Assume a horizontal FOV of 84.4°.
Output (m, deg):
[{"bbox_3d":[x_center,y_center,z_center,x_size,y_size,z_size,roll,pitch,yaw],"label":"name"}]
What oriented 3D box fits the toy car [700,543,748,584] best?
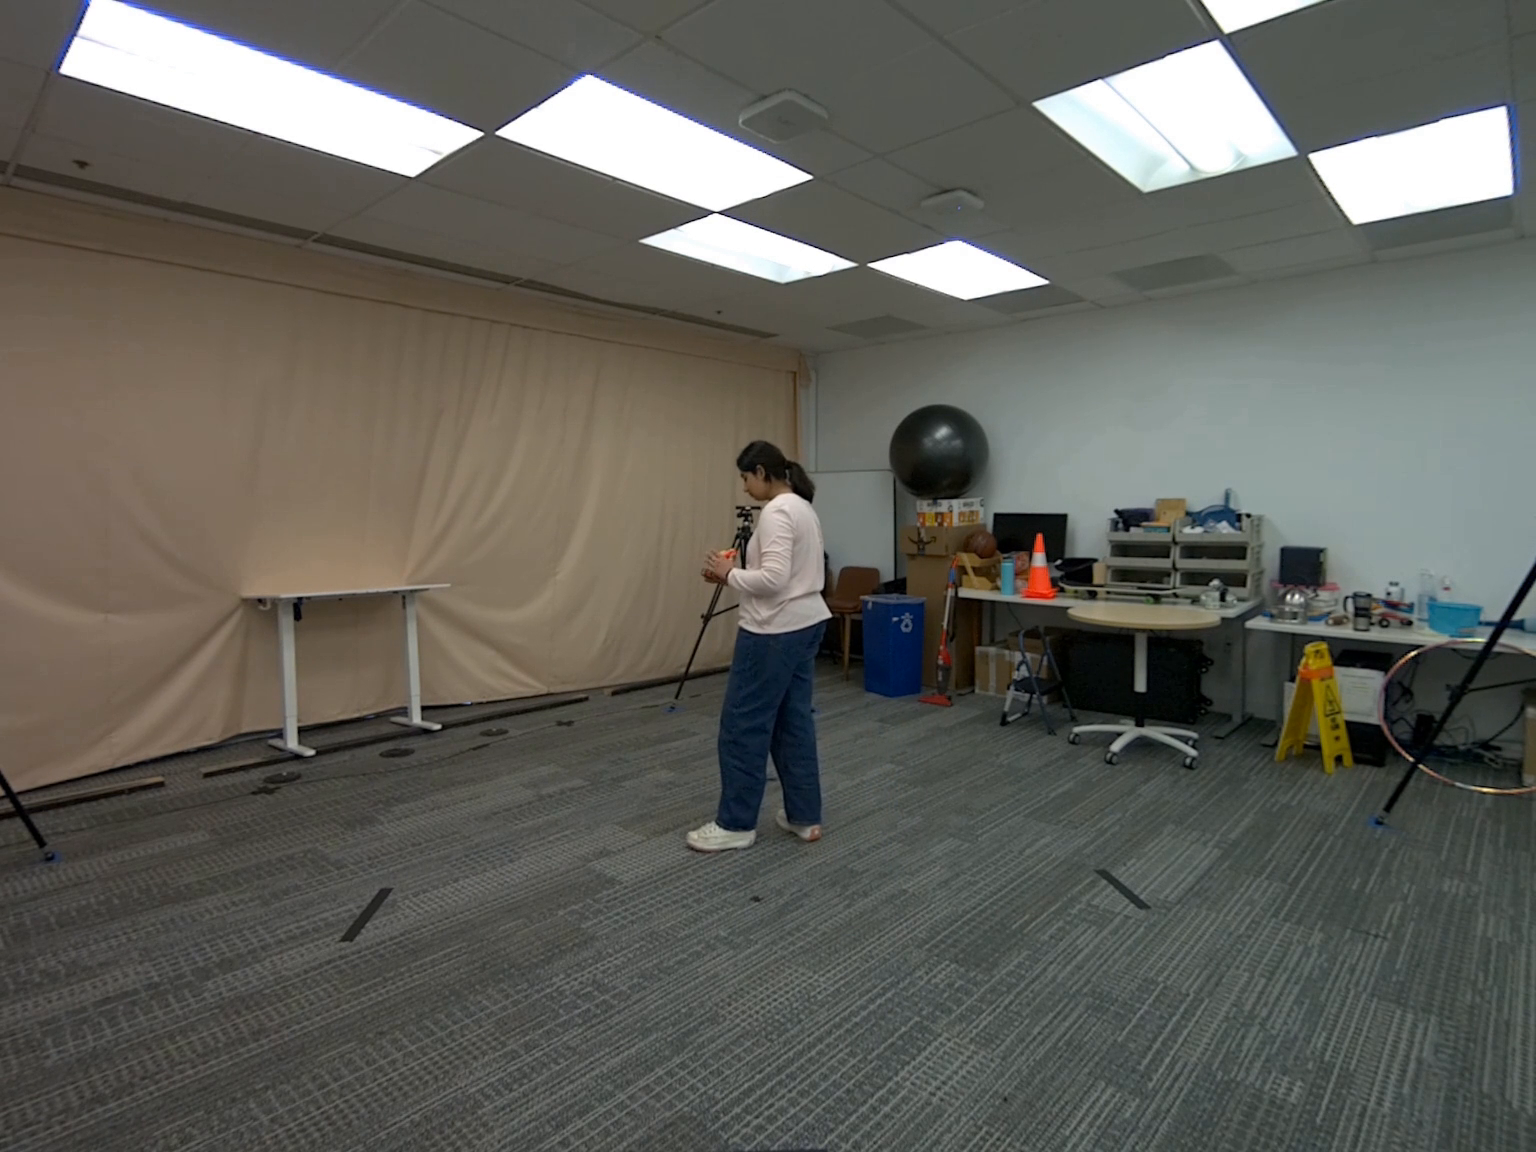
[{"bbox_3d":[-0.185,-0.053,3.681,0.128,0.084,0.257,-17,-7,-24],"label":"toy car"}]
